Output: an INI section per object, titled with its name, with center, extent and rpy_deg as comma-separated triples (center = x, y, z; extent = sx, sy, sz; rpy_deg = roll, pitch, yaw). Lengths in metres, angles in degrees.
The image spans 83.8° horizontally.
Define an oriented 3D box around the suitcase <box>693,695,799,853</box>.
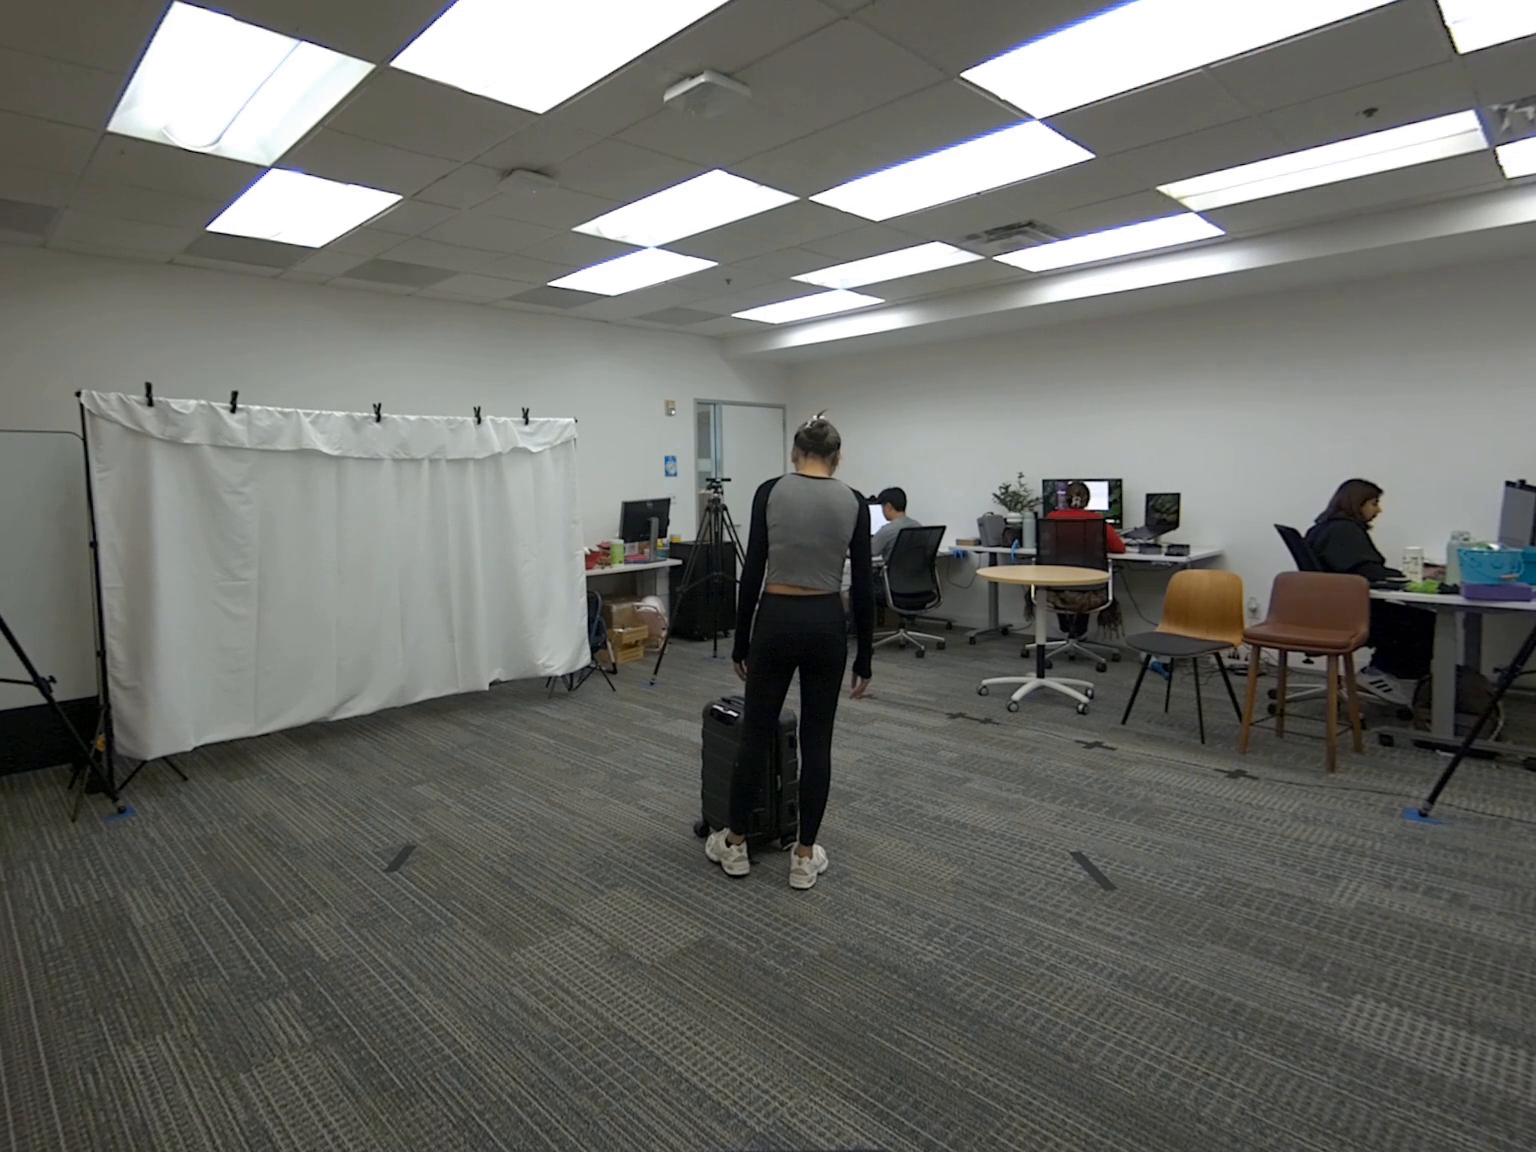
[suitcase]
center = -0.079, 0.747, 3.283
extent = 0.242, 0.548, 0.386
rpy_deg = -2, 4, -35
